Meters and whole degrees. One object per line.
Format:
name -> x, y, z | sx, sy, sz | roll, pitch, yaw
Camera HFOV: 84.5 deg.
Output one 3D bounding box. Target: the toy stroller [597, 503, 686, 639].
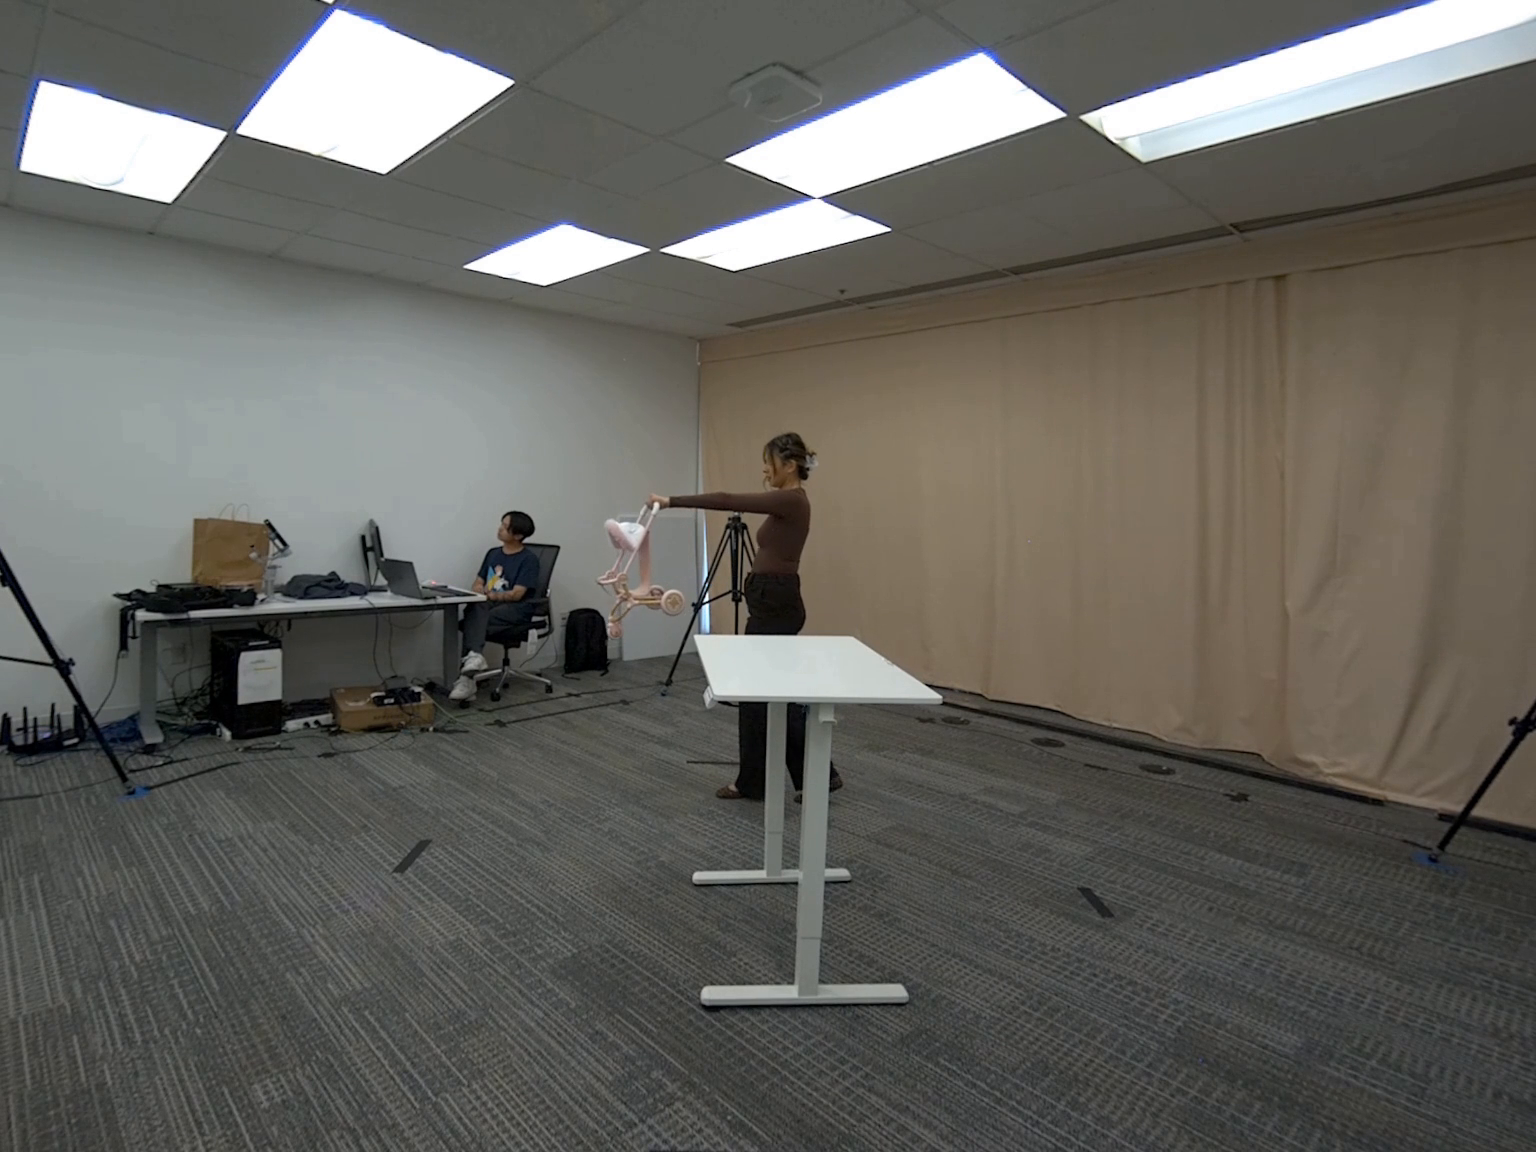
toy stroller -> -0.595, -0.019, 3.611 | 0.338, 0.531, 0.286 | -14, 9, -18
